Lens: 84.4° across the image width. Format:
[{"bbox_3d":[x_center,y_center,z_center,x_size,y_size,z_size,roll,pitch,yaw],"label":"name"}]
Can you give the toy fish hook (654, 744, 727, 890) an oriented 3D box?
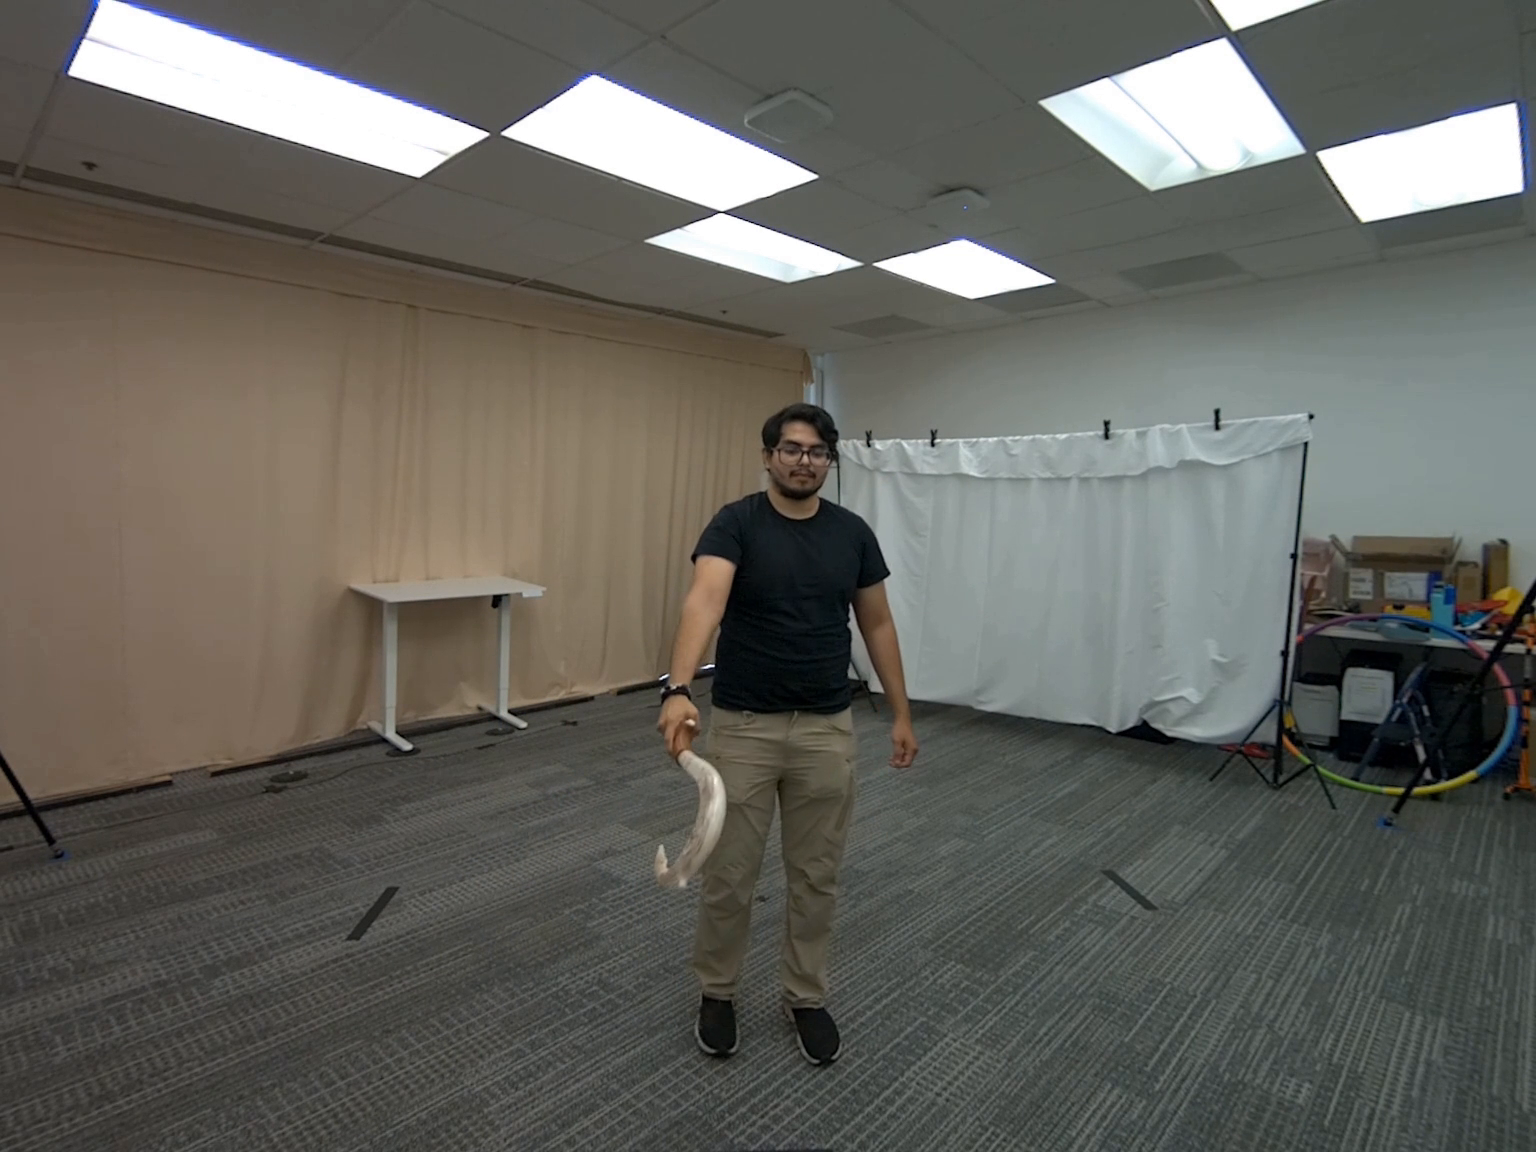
[{"bbox_3d":[-0.166,0.409,1.638,0.047,0.224,0.516,31,6,-17],"label":"toy fish hook"}]
